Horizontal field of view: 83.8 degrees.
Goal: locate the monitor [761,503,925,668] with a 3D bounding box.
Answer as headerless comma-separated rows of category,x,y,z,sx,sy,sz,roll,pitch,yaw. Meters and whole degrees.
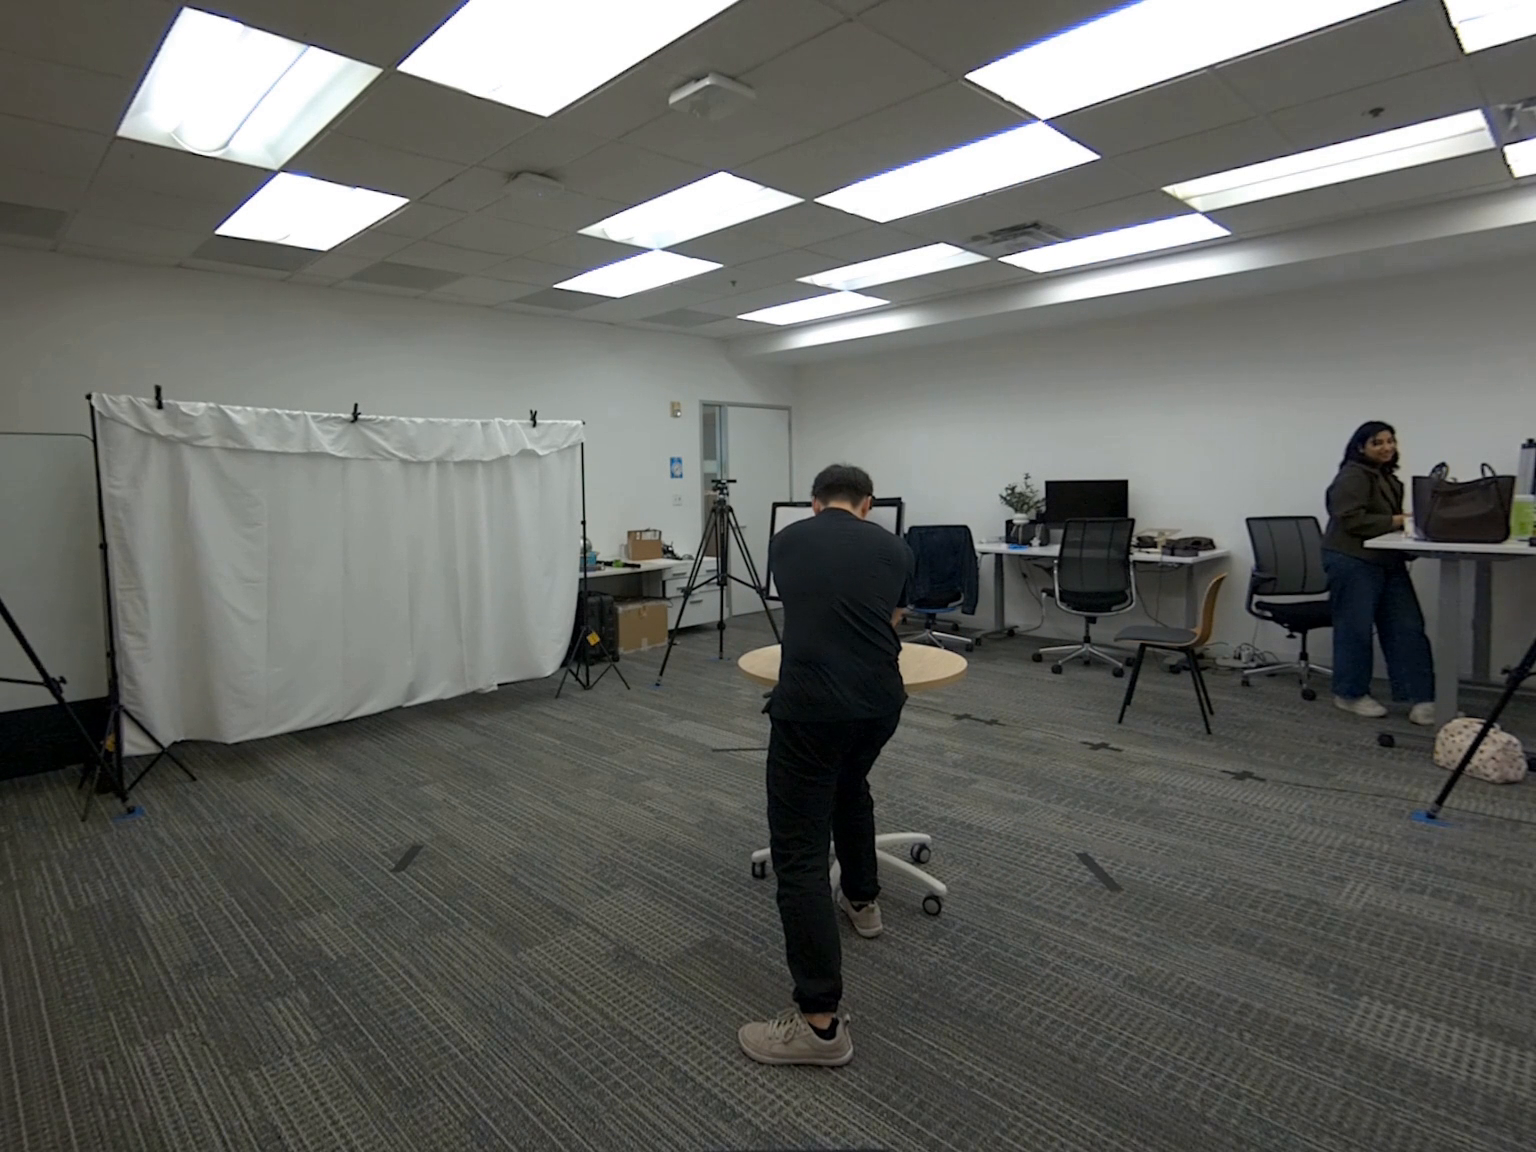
monitor,0.252,0.013,2.998,0.555,0.520,0.182,4,8,41
